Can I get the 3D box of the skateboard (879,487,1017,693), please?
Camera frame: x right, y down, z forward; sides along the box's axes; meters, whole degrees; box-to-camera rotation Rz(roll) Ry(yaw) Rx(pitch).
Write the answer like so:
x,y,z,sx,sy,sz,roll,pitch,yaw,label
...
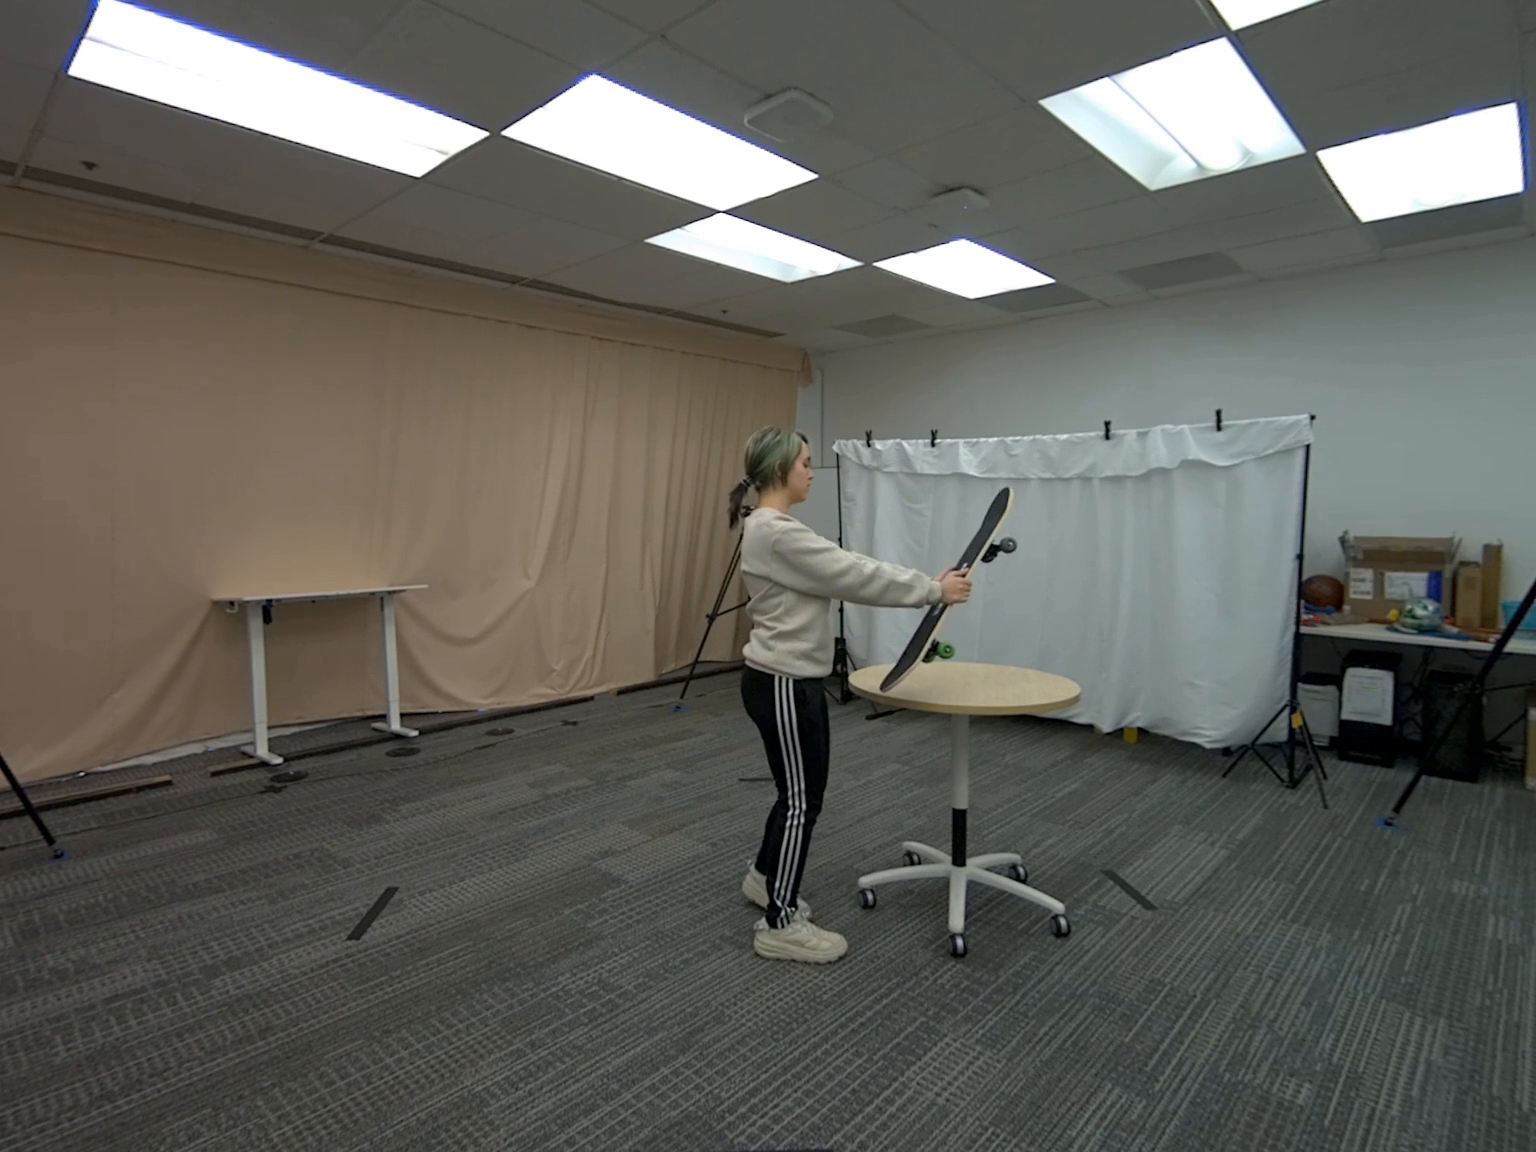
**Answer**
x,y,z,sx,sy,sz,roll,pitch,yaw,label
0.603,0.065,2.647,0.110,0.784,0.194,35,-11,-2,skateboard
